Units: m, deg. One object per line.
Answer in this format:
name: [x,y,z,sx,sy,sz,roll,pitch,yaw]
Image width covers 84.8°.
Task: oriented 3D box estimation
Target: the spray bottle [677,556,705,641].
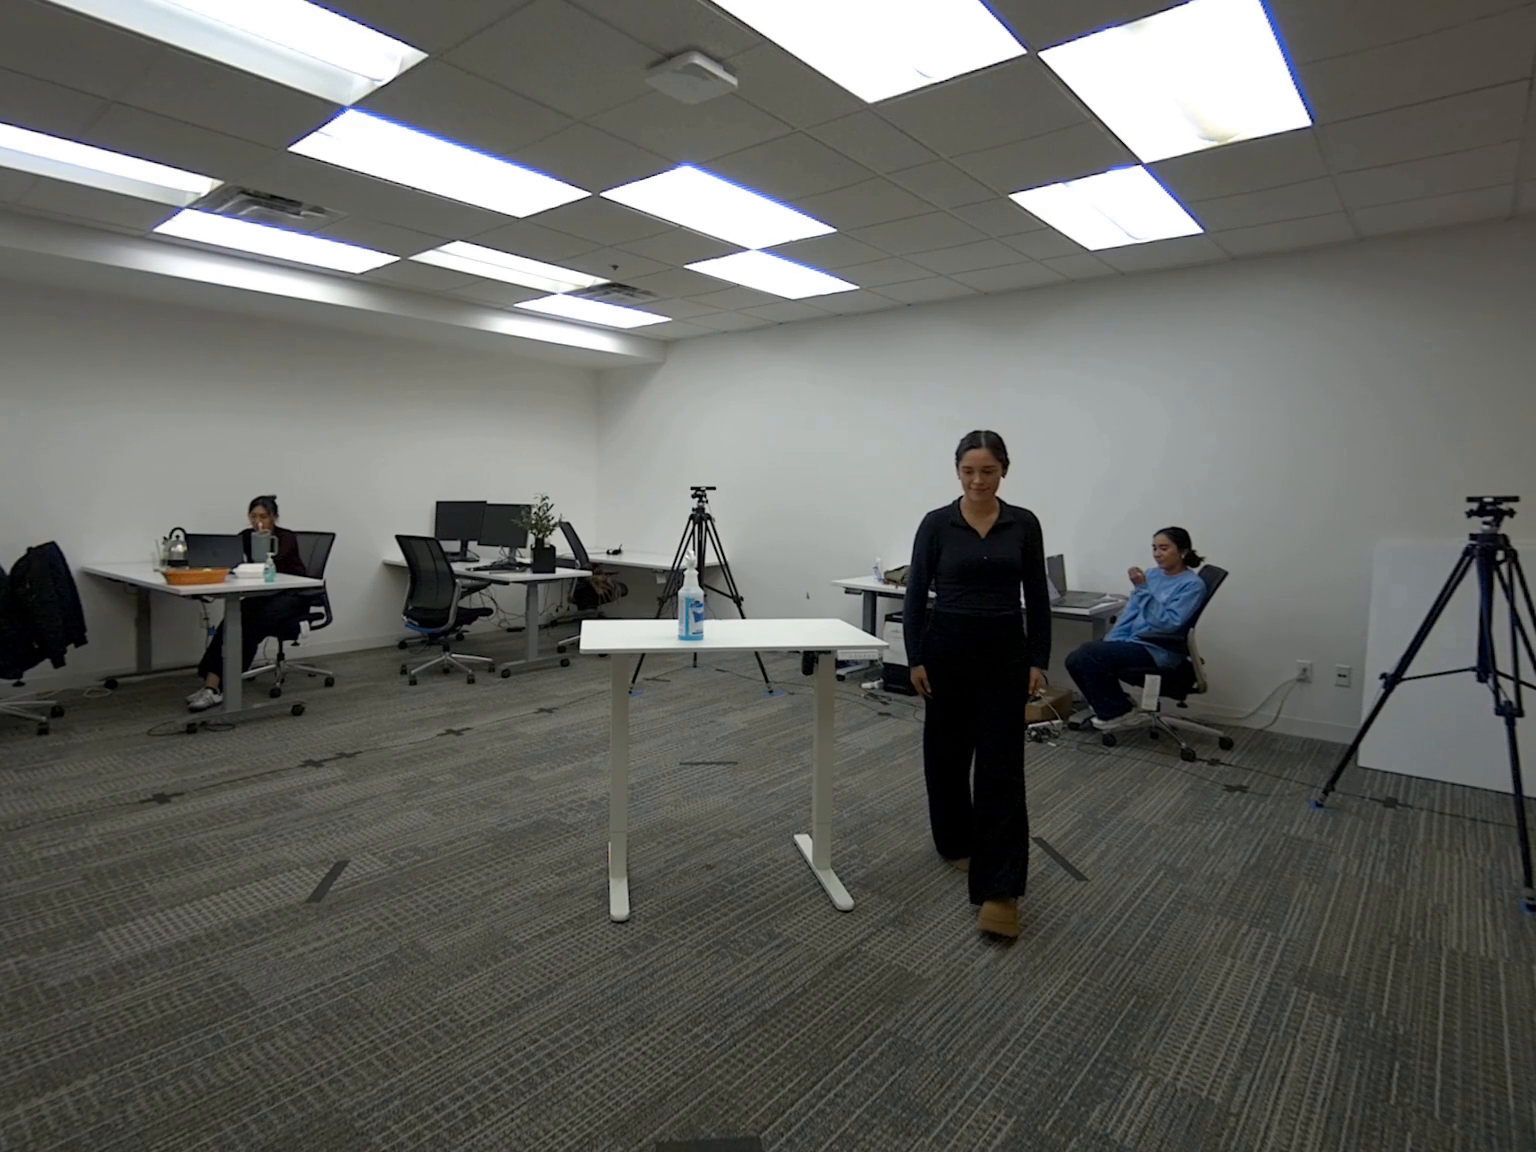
spray bottle: [-0.266,0.061,2.853,0.088,0.297,0.088,0,-1,13]
